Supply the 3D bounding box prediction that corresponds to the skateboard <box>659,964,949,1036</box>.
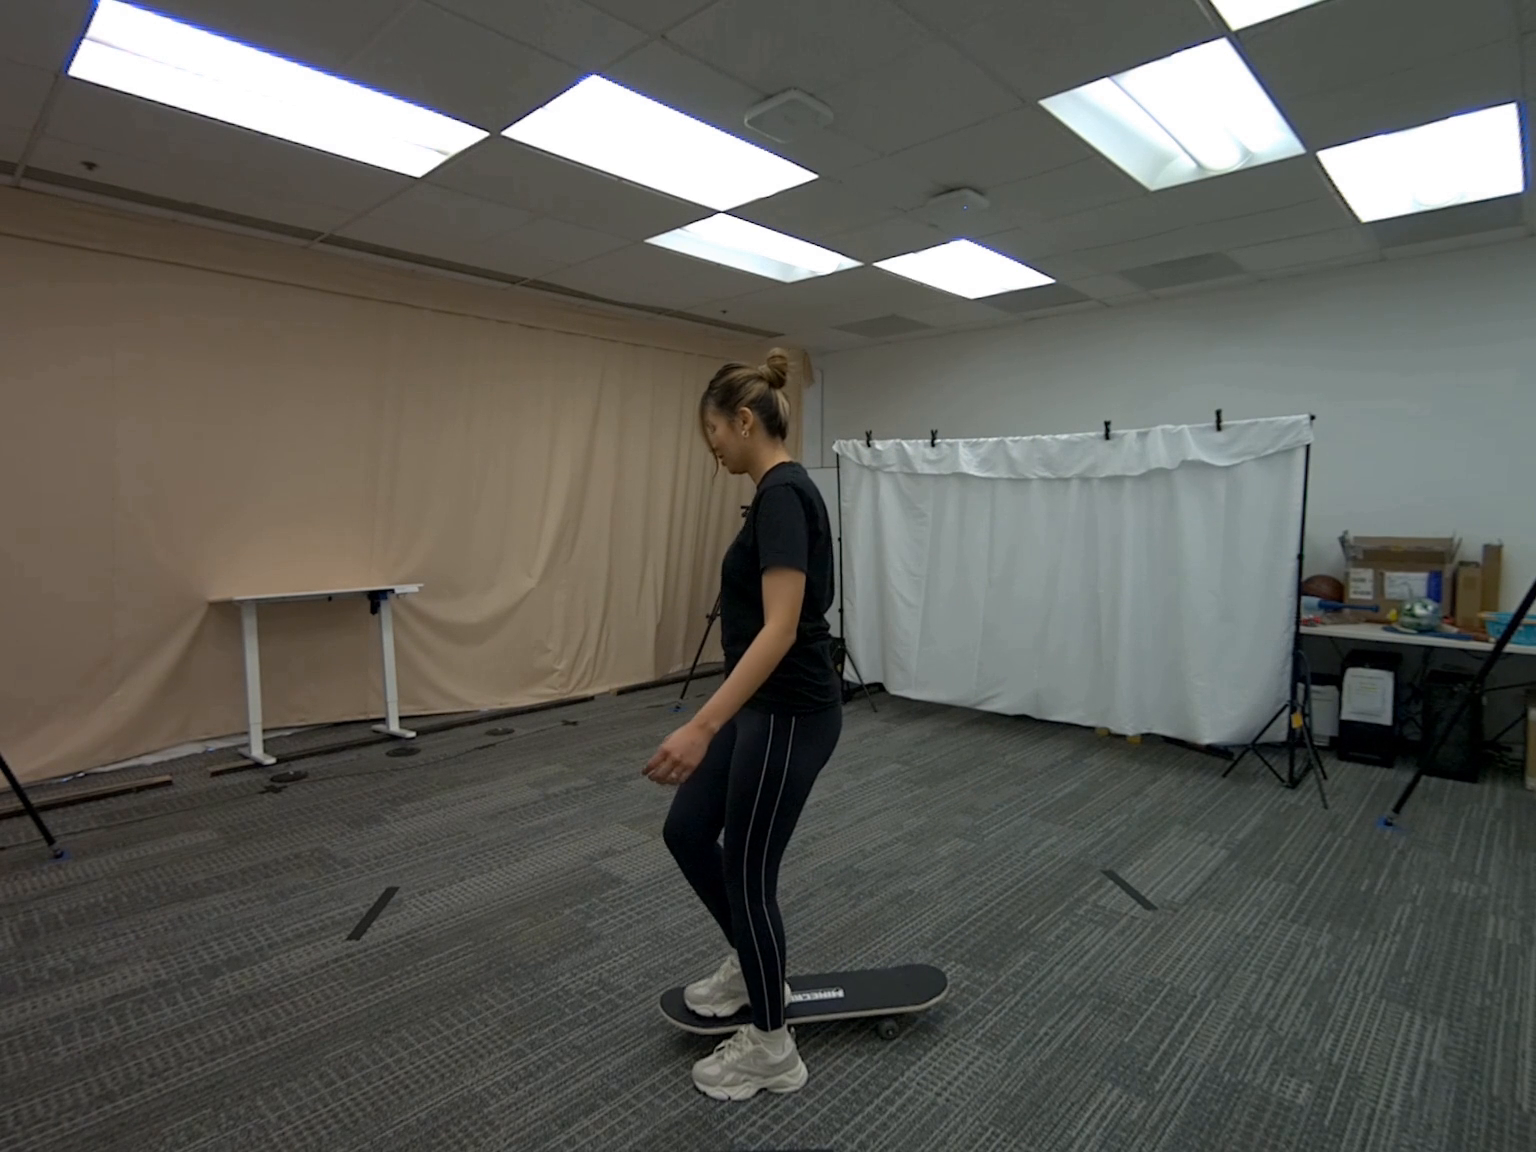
[{"bbox_3d":[0.108,1.153,2.235,0.777,0.110,0.196,-1,5,-9],"label":"skateboard"}]
